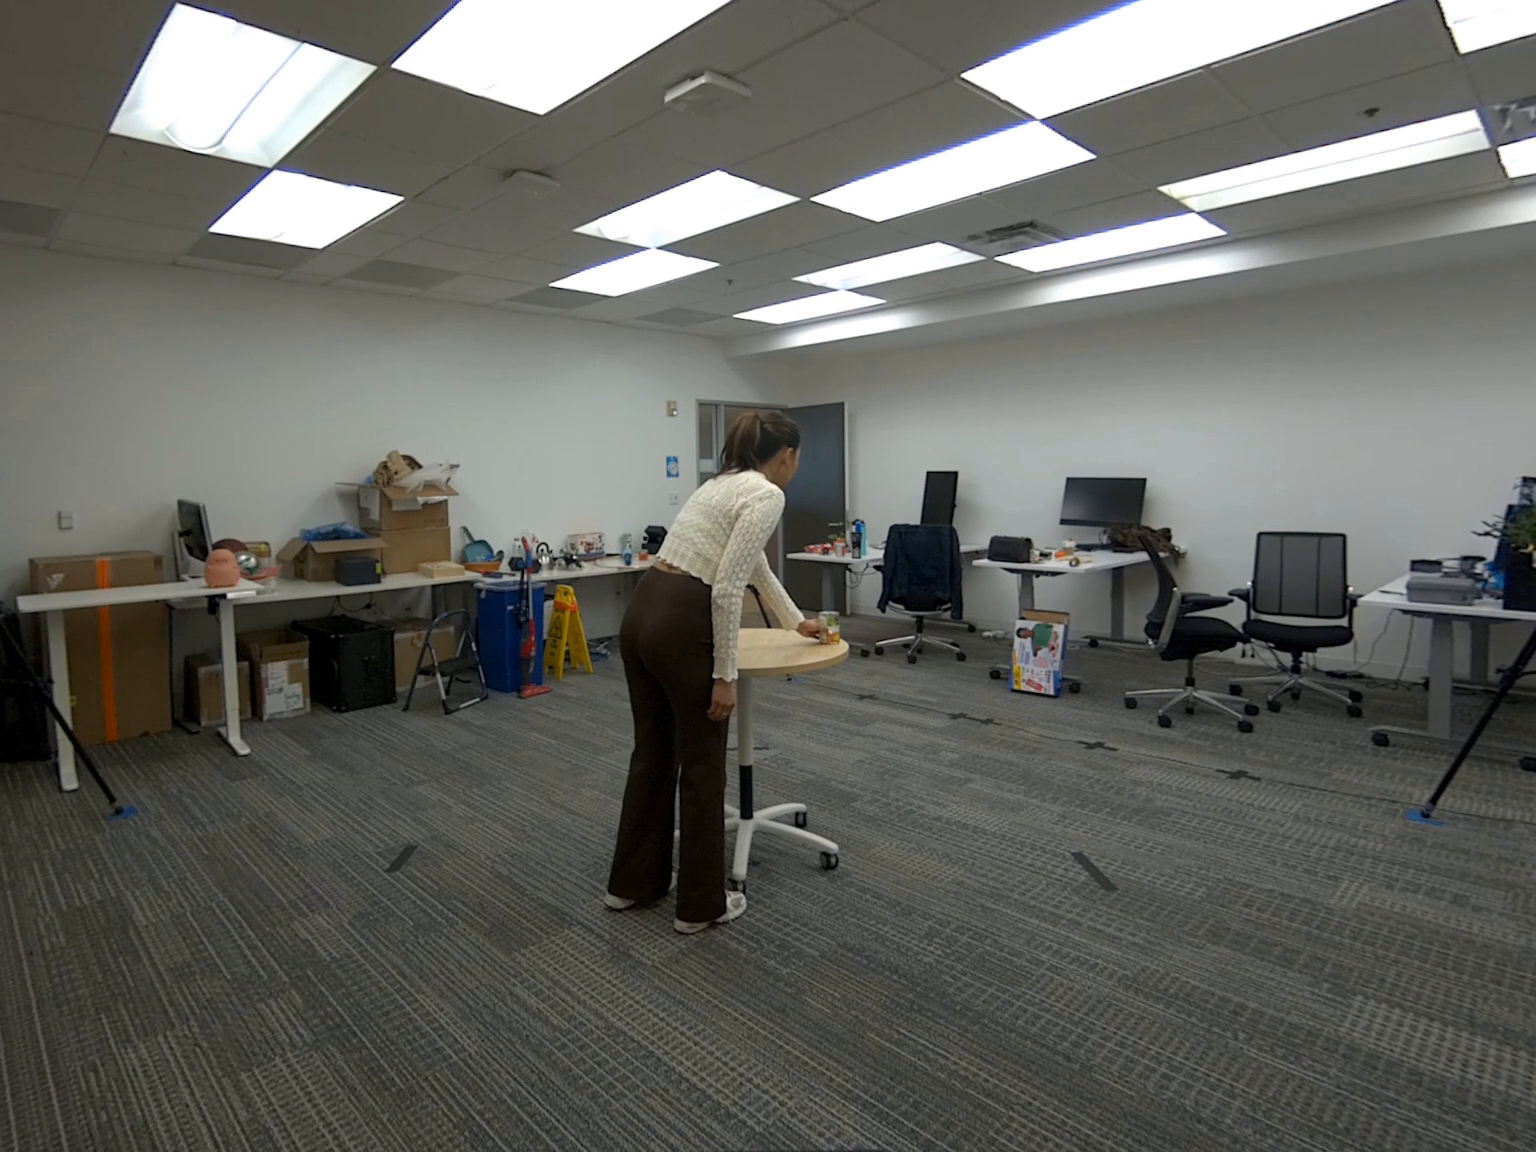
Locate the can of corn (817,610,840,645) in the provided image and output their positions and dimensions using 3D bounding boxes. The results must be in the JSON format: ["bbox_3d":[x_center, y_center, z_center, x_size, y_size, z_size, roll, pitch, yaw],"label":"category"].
[{"bbox_3d":[0.227,0.190,3.142,0.074,0.111,0.074,-2,1,-2],"label":"can of corn"}]
